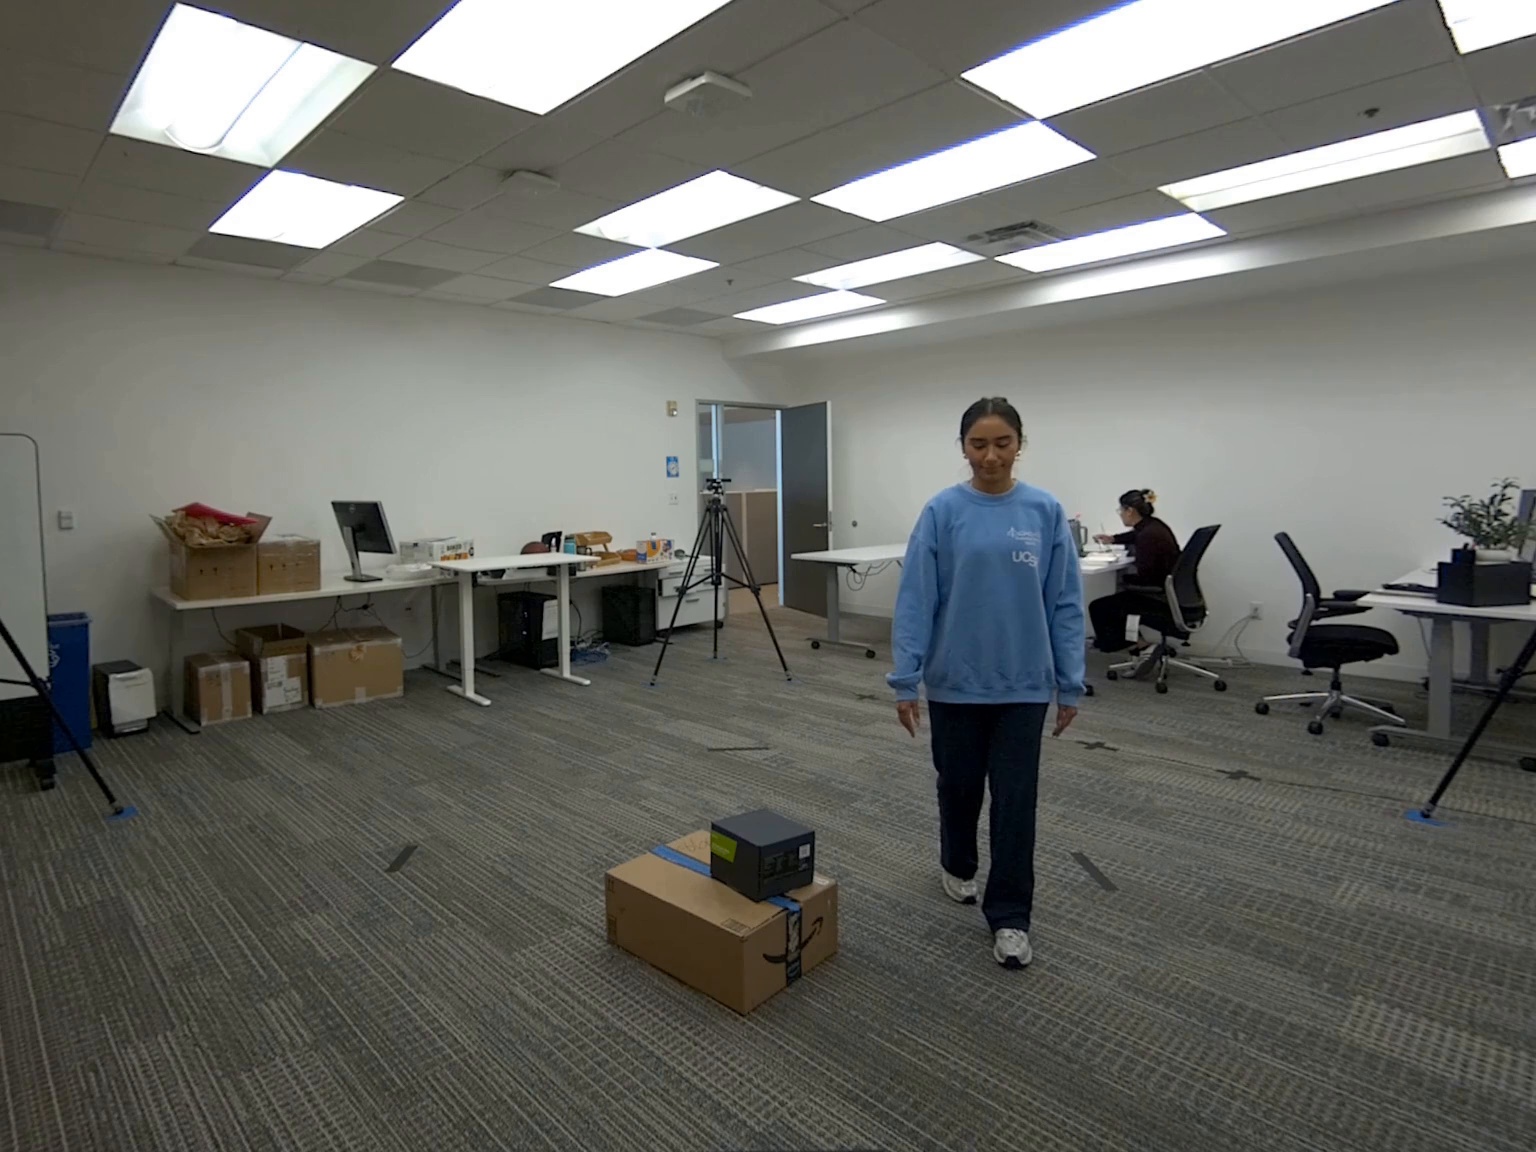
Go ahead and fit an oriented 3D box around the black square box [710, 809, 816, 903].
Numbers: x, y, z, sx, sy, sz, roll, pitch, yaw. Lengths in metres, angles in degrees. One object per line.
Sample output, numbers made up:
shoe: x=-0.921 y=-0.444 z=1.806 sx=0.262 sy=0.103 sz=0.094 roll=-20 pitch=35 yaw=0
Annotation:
black square box: x=-0.014 y=0.809 z=2.518 sx=0.211 sy=0.155 sz=0.235 roll=-2 pitch=5 yaw=-40
